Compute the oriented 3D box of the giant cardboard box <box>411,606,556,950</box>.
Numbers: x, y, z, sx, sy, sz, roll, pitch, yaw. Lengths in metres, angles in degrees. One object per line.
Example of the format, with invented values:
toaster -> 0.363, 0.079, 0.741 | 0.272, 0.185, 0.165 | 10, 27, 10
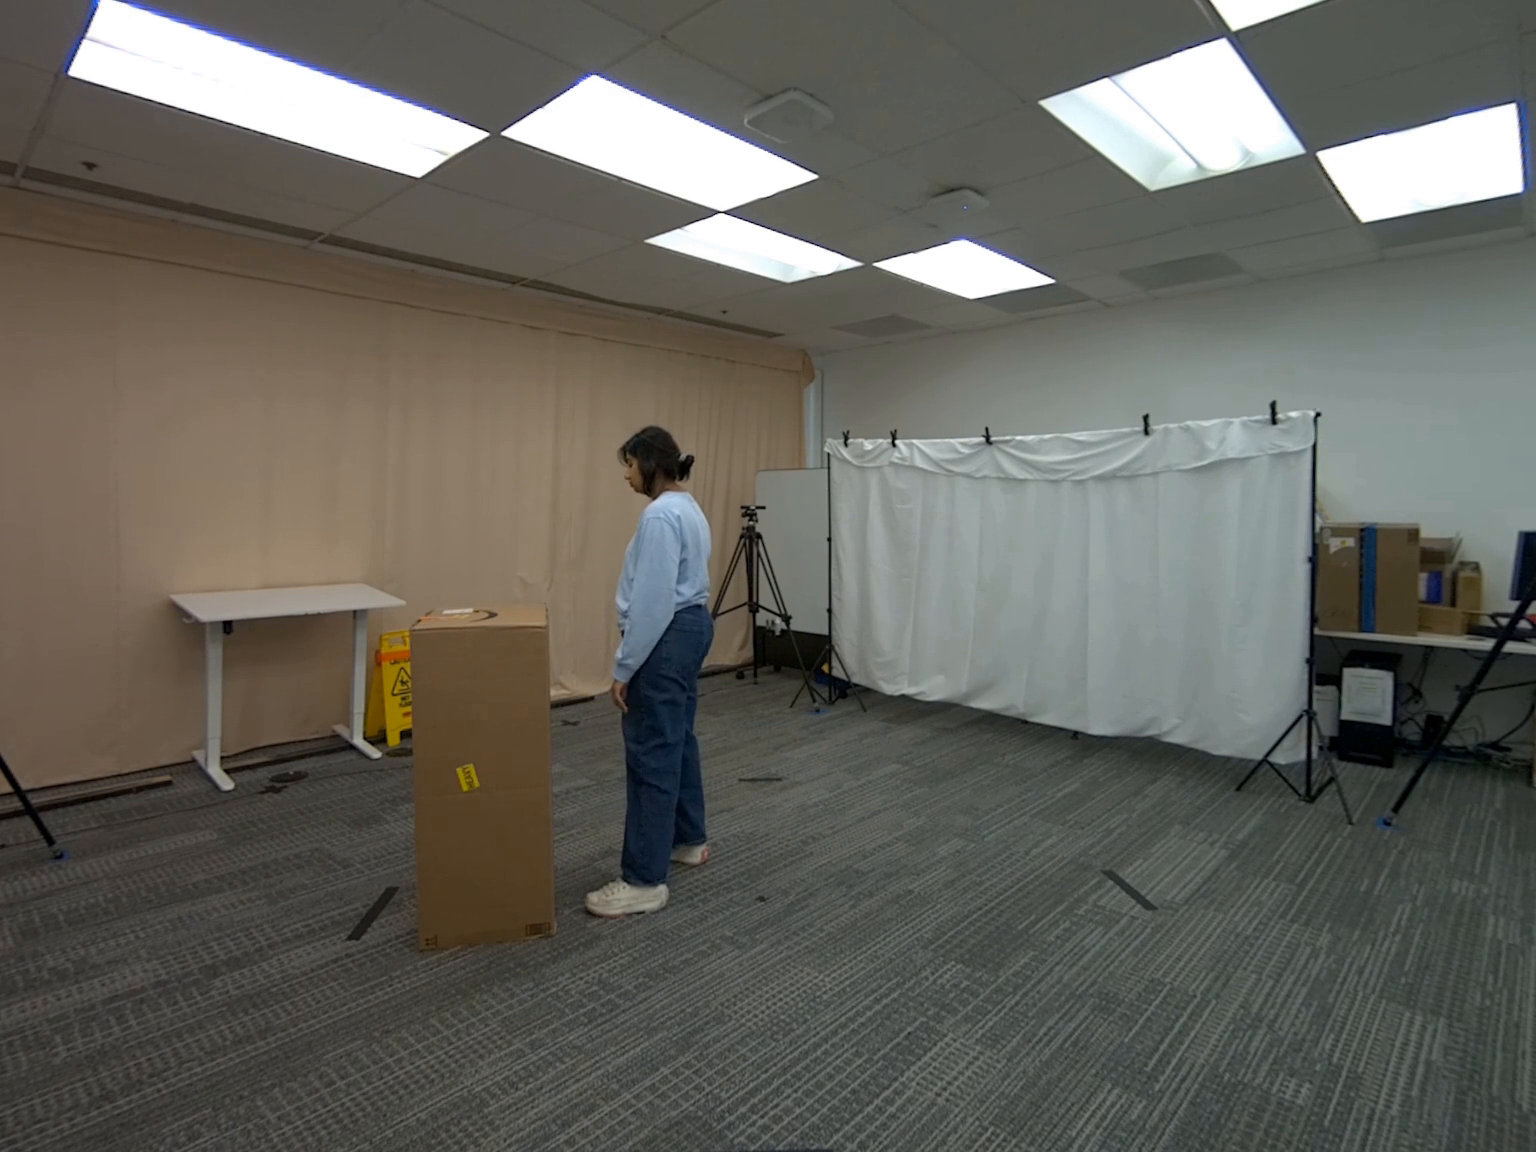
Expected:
giant cardboard box -> -0.979, 0.647, 2.940 | 0.420, 1.024, 0.587 | -1, 3, -14
